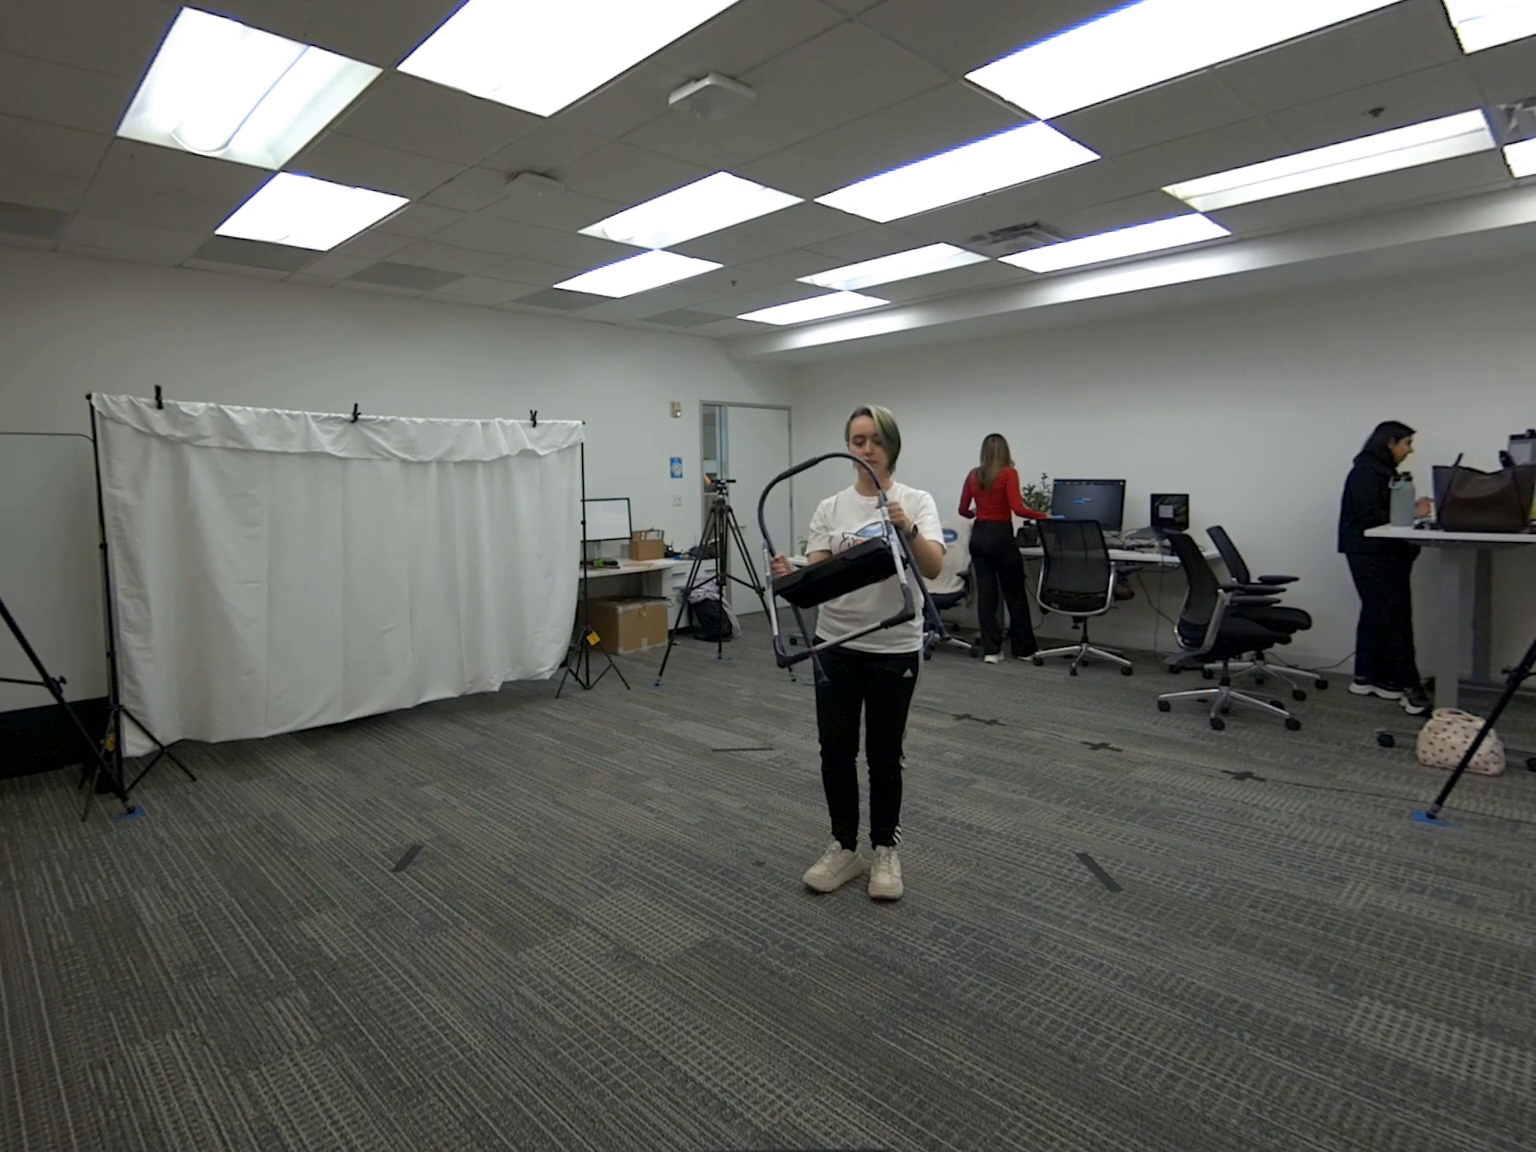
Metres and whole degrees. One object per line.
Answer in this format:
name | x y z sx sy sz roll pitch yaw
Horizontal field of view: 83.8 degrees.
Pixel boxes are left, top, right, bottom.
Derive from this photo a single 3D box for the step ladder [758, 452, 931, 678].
step ladder | 0.207 -0.049 2.557 0.435 0.621 0.337 -24 -25 20
